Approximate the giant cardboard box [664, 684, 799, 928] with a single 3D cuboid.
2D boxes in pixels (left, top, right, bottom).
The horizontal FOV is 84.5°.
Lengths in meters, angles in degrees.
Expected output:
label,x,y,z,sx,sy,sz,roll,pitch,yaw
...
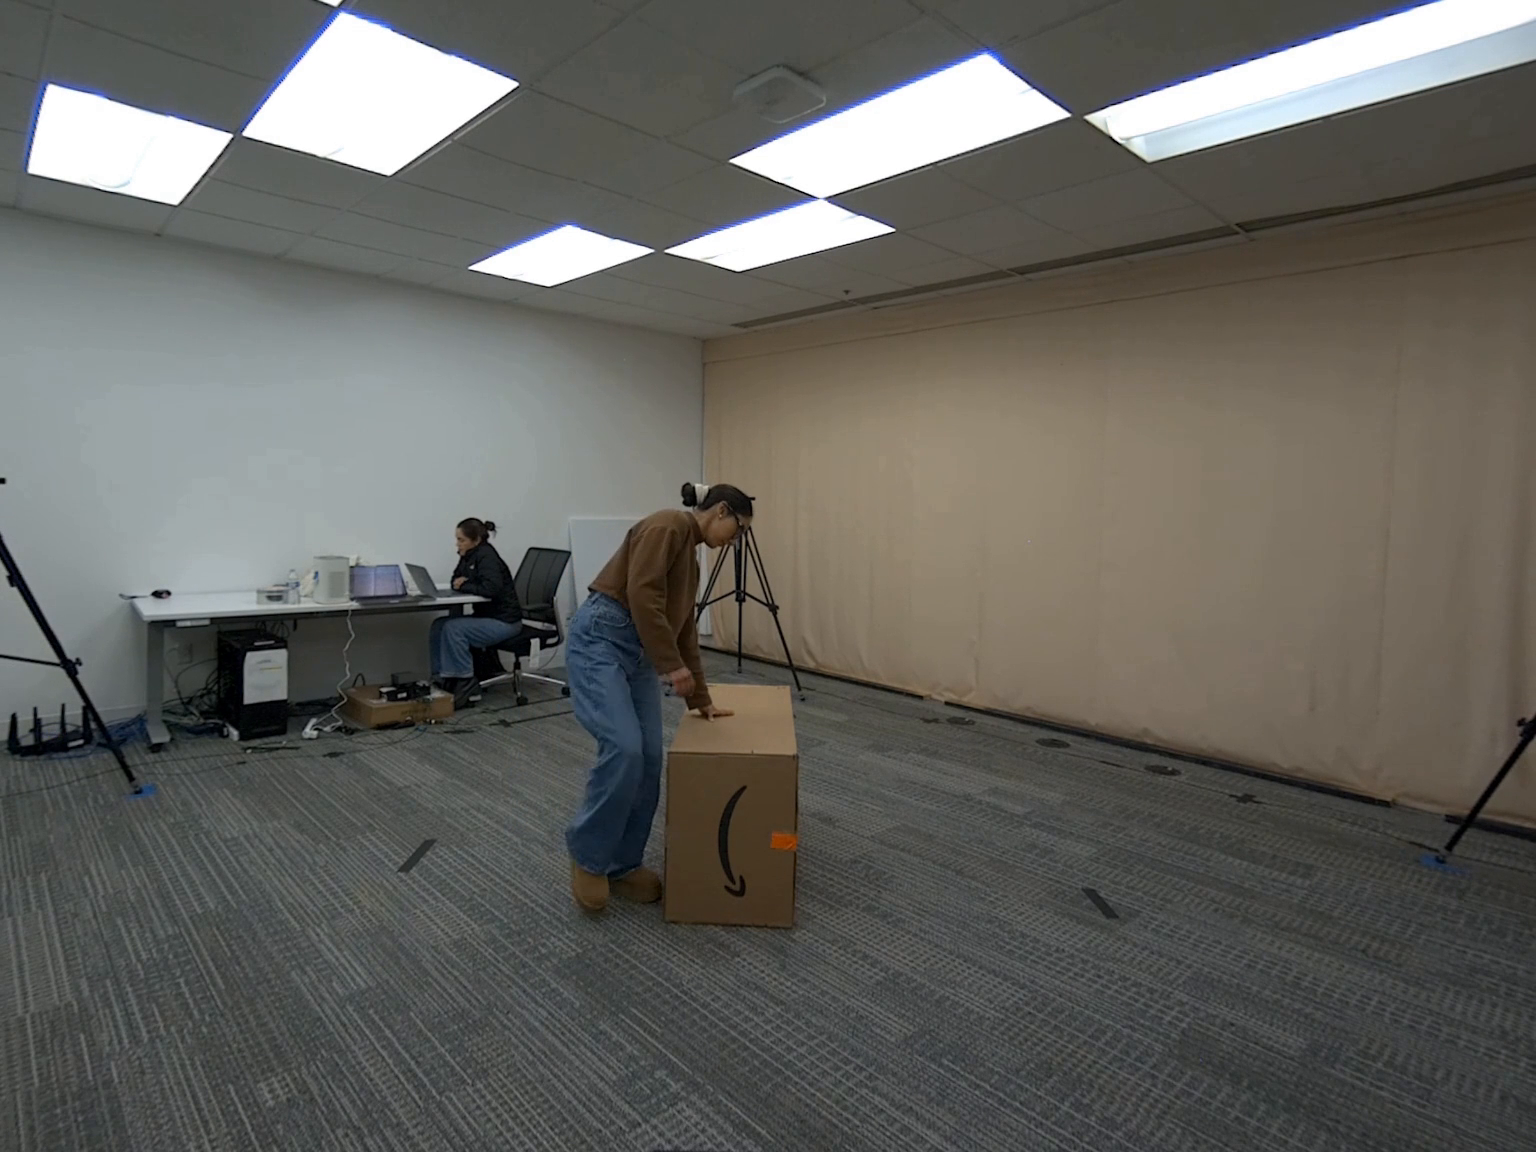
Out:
label,x,y,z,sx,sy,sz,roll,pitch,yaw
giant cardboard box,-0.116,0.812,3.234,0.448,0.582,1.028,0,5,1
